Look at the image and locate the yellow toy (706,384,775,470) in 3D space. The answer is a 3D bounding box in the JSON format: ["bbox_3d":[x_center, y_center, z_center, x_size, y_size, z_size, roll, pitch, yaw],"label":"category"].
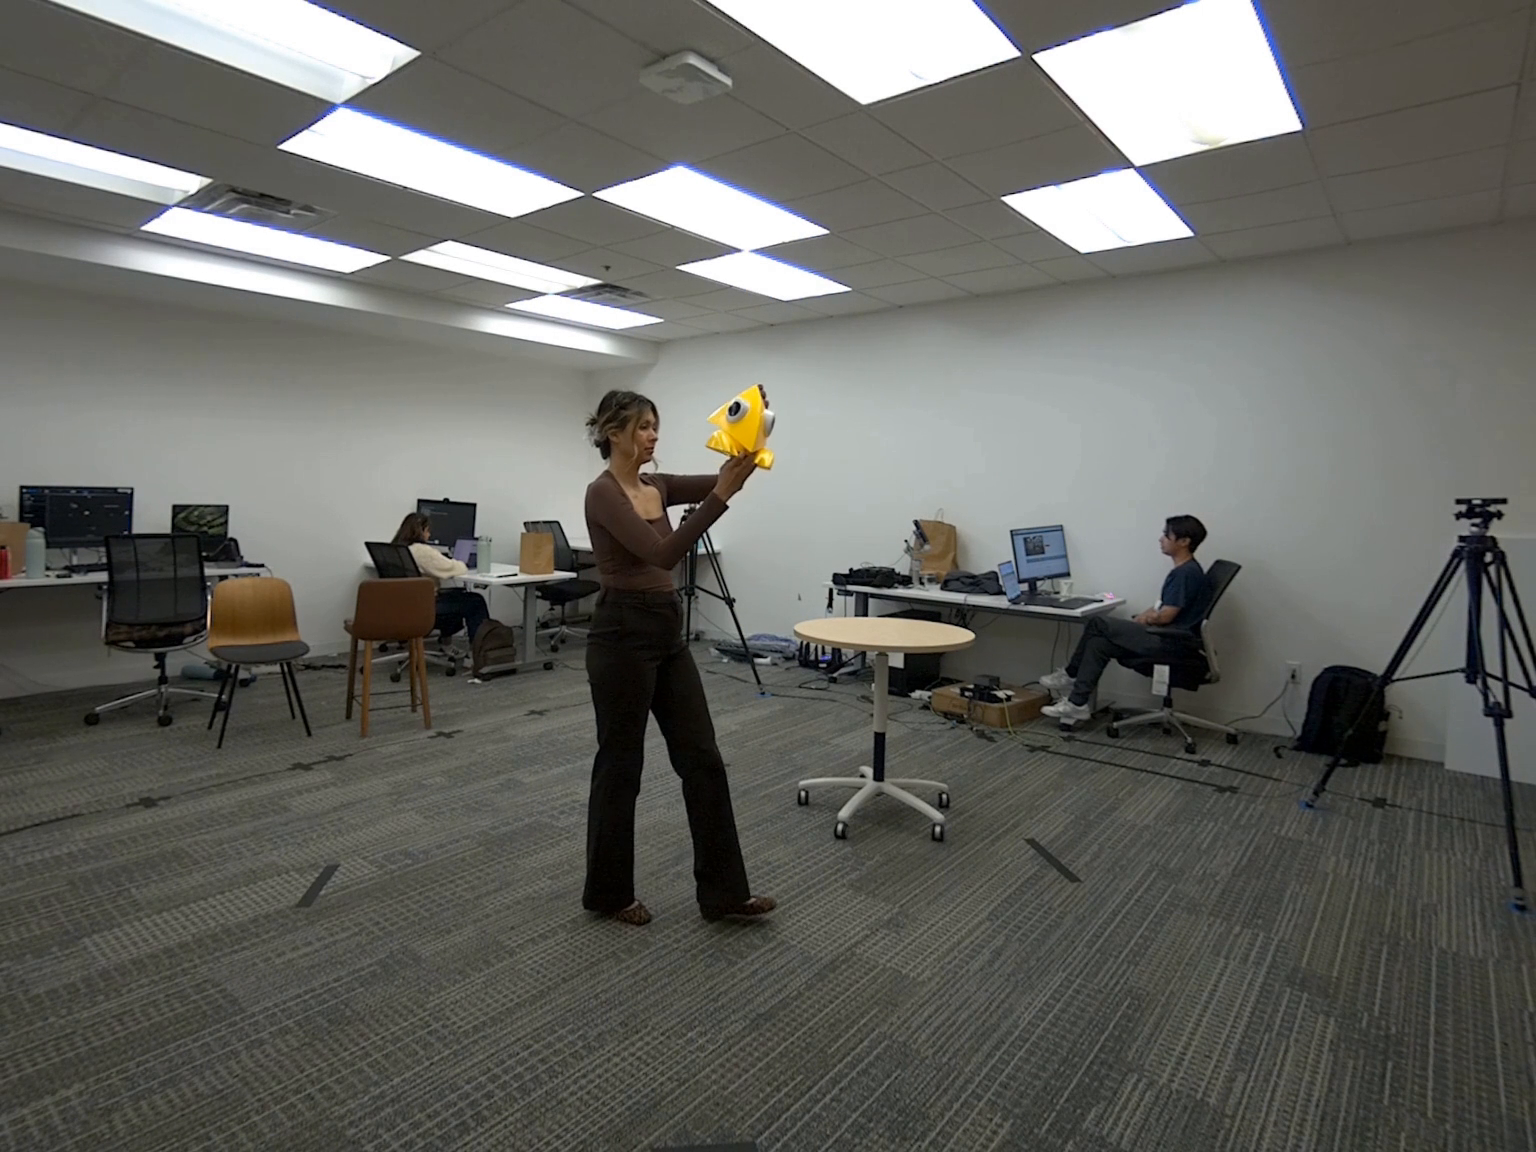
[{"bbox_3d":[-0.055,-0.458,2.502,0.200,0.230,0.198,19,3,-21],"label":"yellow toy"}]
